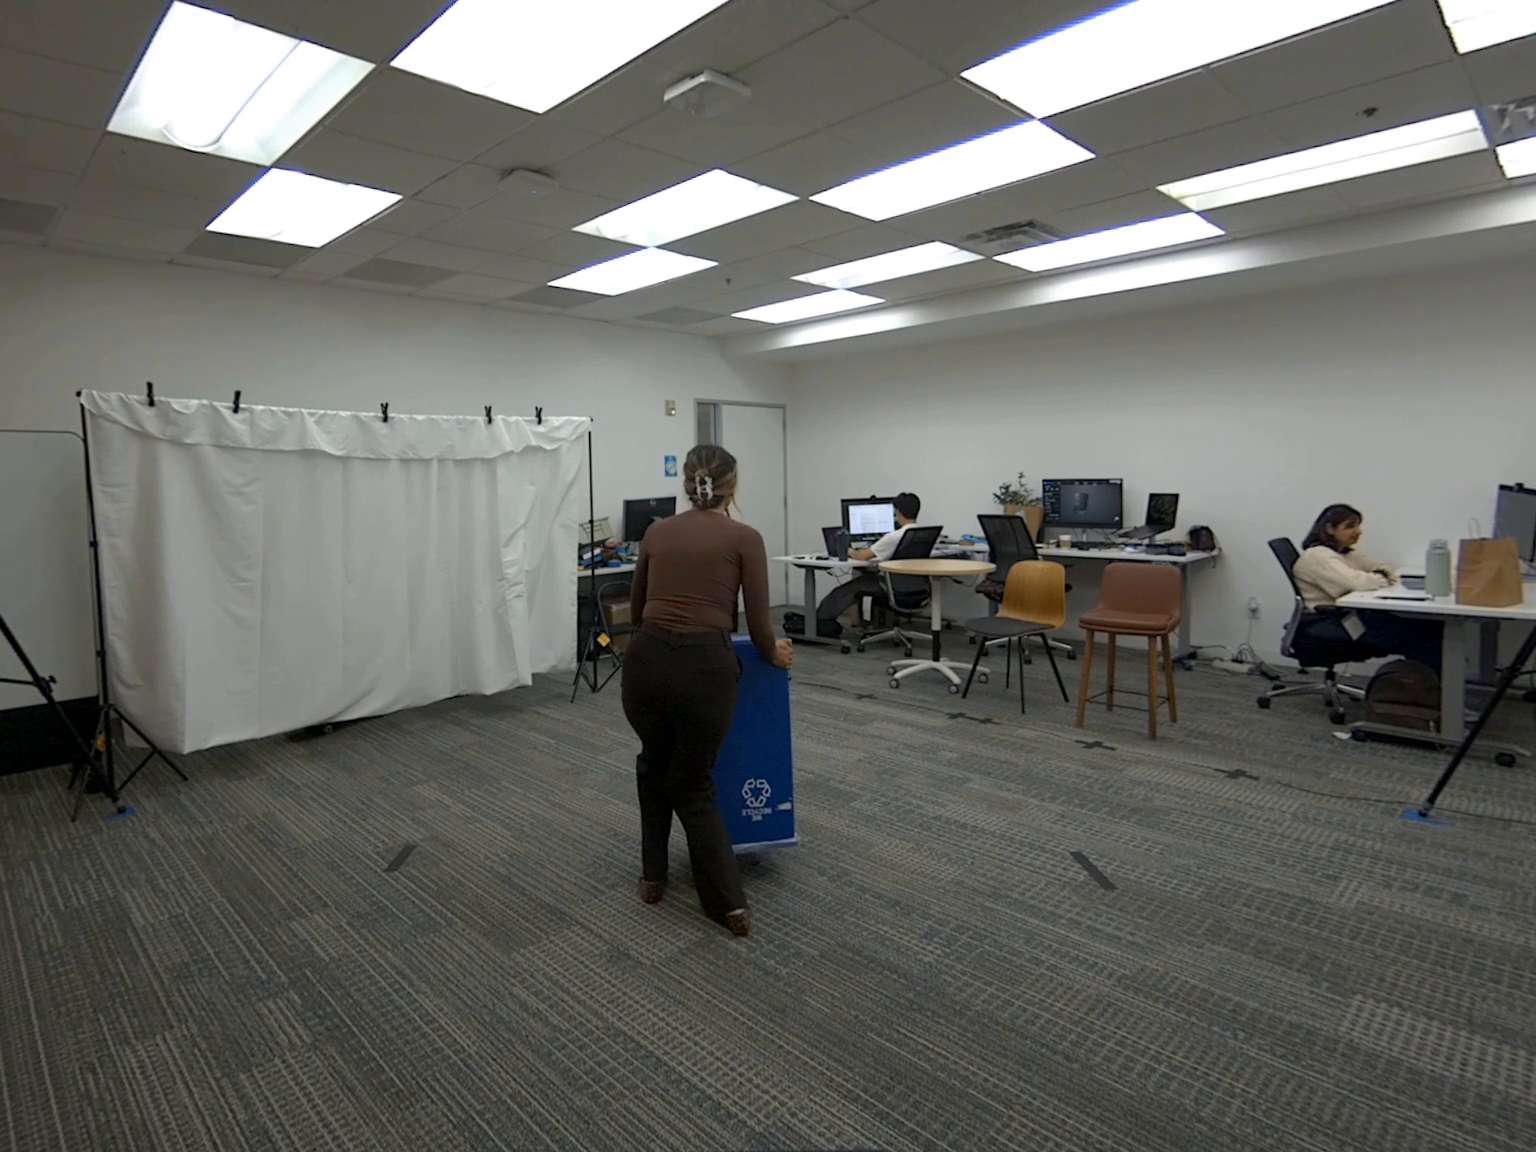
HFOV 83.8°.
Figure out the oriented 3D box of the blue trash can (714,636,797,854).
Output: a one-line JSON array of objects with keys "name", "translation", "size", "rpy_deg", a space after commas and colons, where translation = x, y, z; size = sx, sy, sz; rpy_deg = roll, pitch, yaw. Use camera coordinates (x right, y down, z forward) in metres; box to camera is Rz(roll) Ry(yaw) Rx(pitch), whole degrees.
[{"name": "blue trash can", "translation": [-0.118, 0.582, 3.111], "size": [0.368, 0.715, 0.383], "rpy_deg": [-1, -2, -17]}]
